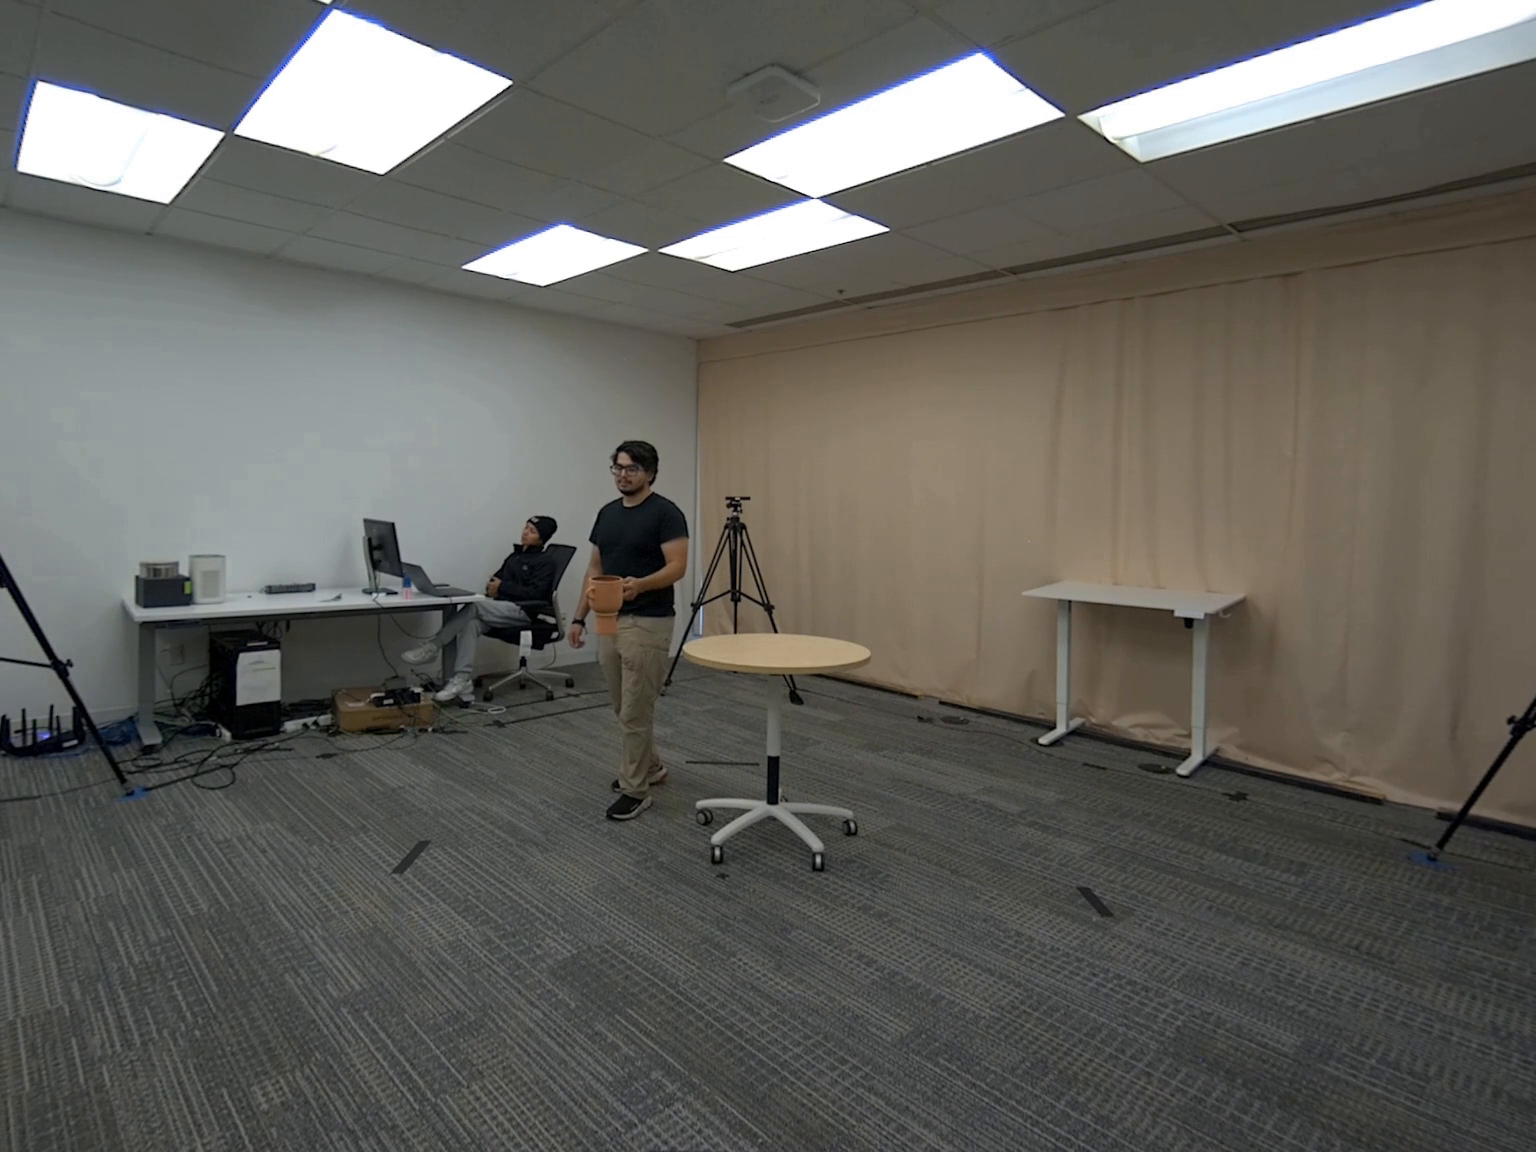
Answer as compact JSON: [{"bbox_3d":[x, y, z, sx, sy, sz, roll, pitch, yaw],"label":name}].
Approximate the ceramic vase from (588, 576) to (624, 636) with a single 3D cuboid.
[{"bbox_3d":[-0.667,0.119,3.369,0.157,0.218,0.137,0,9,-13],"label":"ceramic vase"}]
